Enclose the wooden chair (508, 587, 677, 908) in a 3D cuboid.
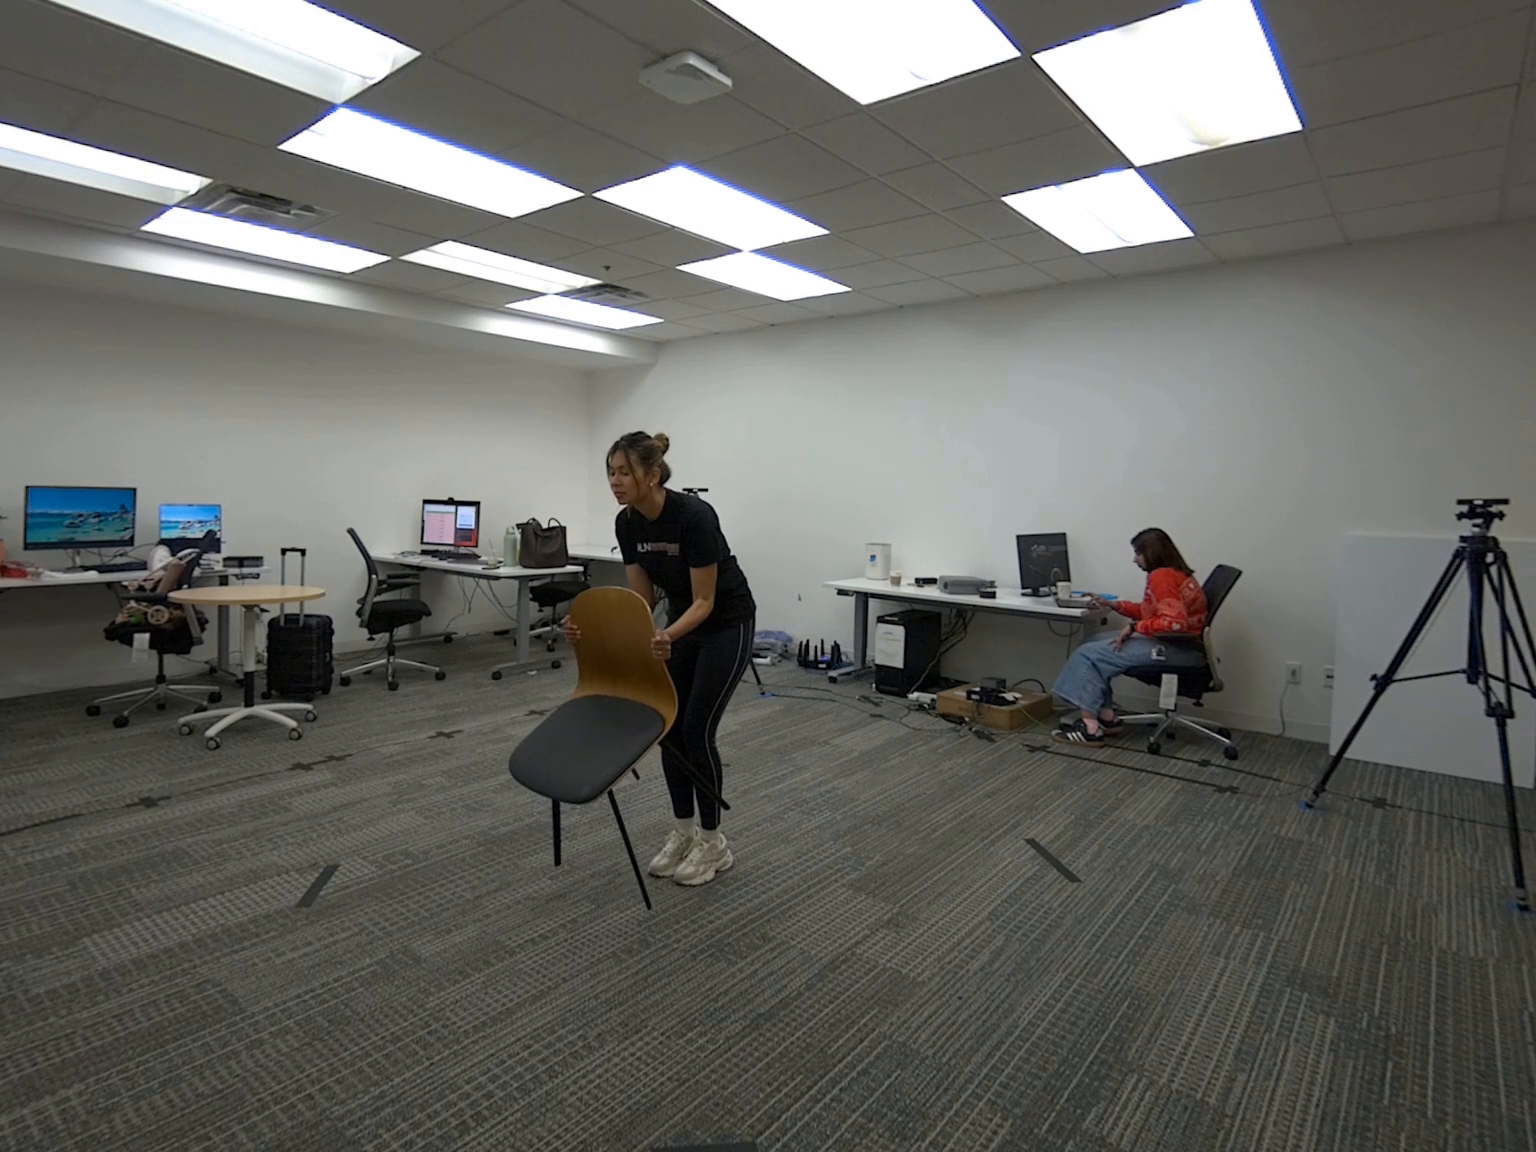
[{"bbox_3d":[-0.548,0.541,2.749,0.494,0.856,0.519,6,28,36],"label":"wooden chair"}]
